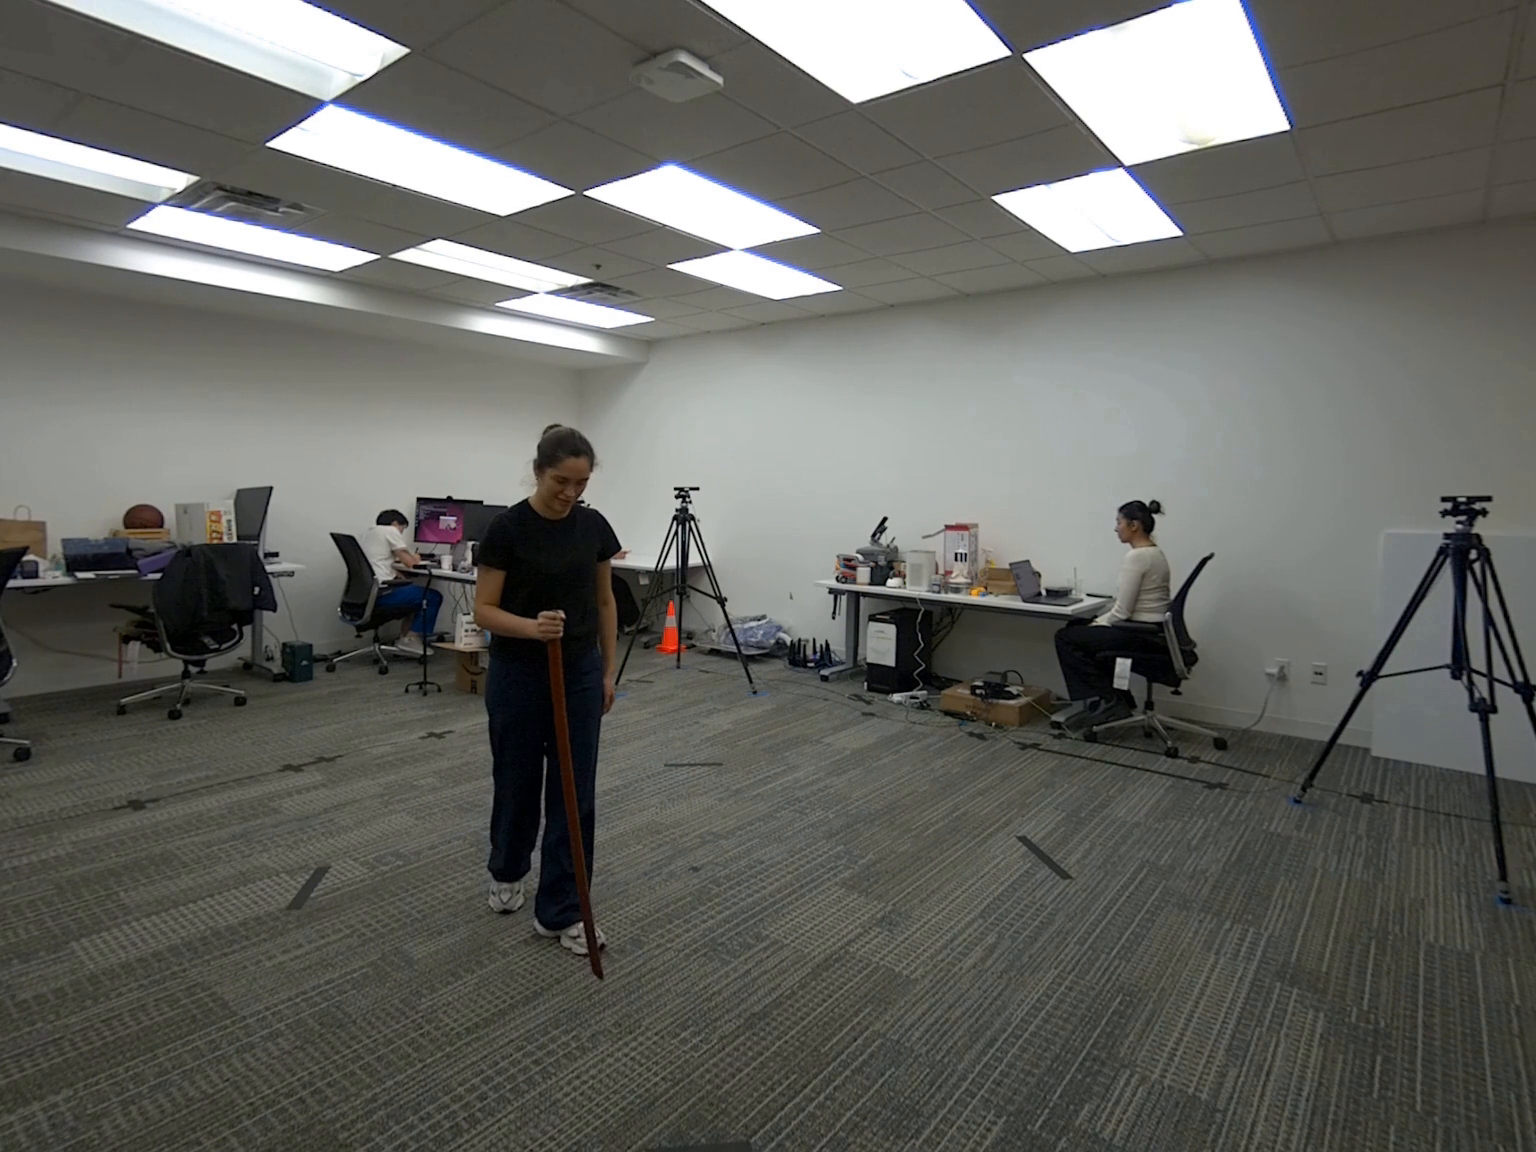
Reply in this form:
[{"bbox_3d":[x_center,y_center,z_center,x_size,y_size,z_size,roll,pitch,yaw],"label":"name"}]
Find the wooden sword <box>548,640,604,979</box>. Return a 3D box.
[{"bbox_3d":[-0.564,0.614,2.386,0.050,1.024,0.025,-8,1,-36],"label":"wooden sword"}]
